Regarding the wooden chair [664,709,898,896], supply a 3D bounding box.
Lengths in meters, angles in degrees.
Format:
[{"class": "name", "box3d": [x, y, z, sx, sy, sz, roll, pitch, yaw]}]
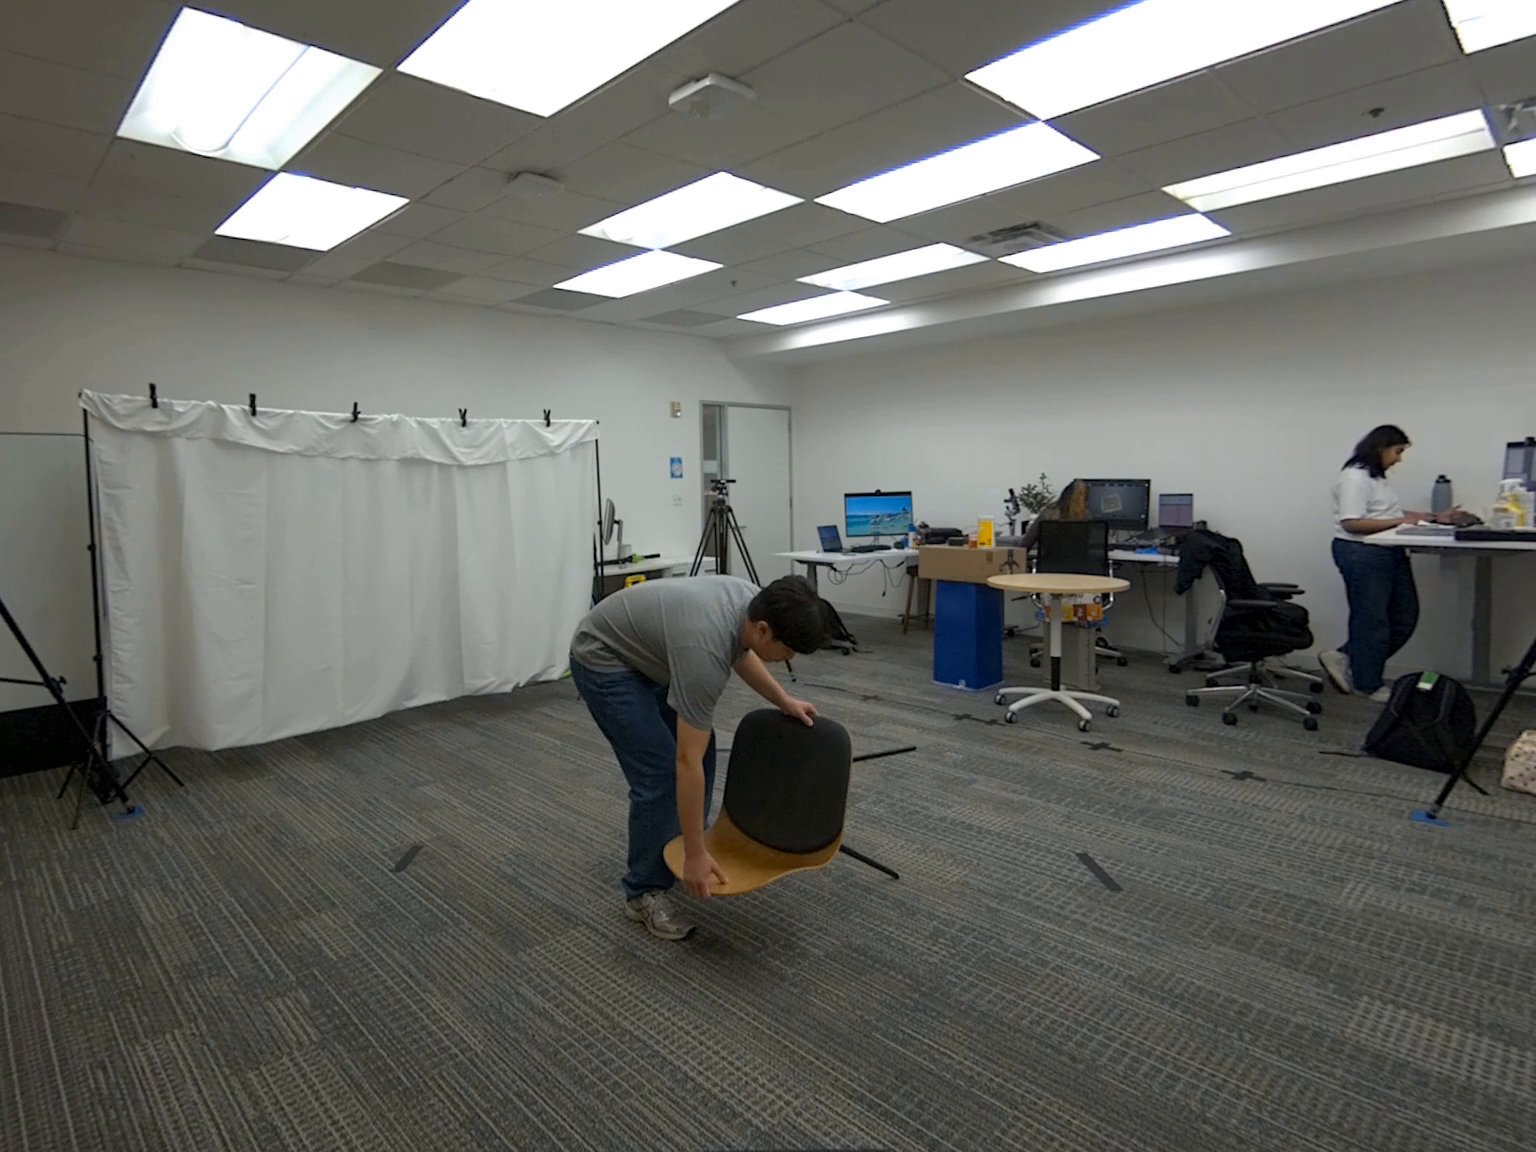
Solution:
[{"class": "wooden chair", "box3d": [0.078, 0.722, 2.832, 0.492, 0.526, 0.848, 3, -7, 35]}]
